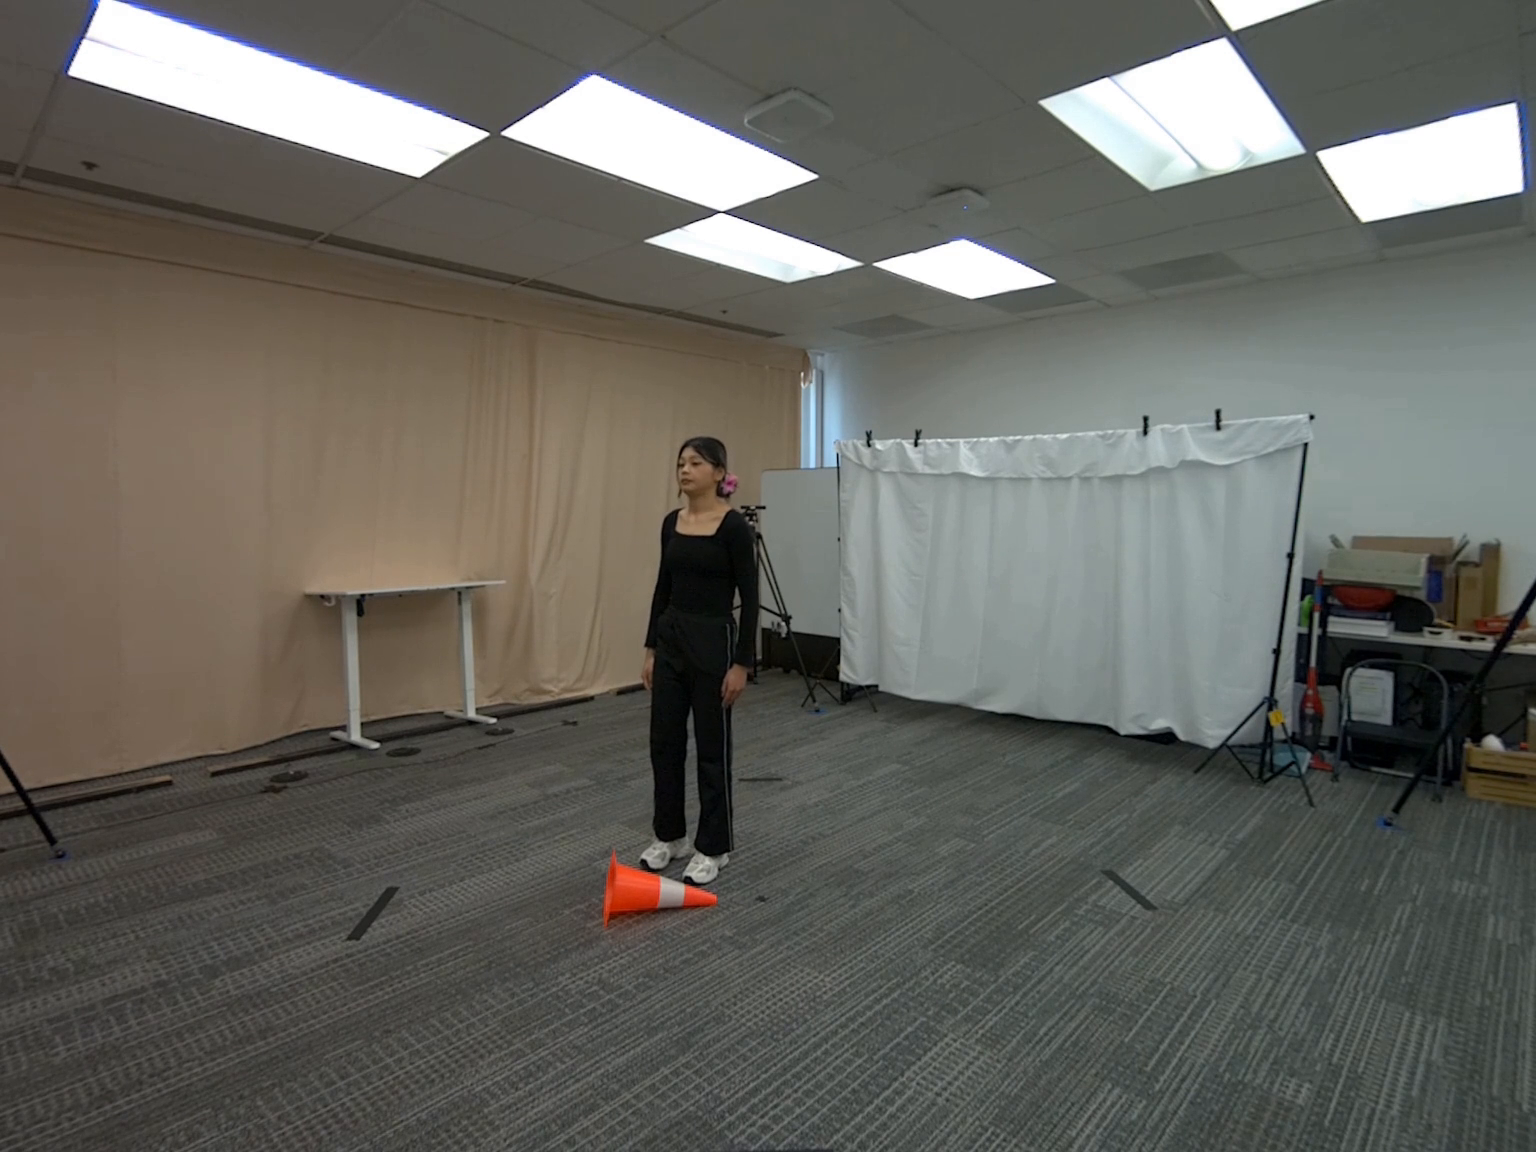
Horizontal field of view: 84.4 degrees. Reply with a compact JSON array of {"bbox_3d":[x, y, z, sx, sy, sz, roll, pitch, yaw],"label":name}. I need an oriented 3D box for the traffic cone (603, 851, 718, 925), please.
[{"bbox_3d":[-0.361,1.103,2.914,0.378,0.205,0.206,13,2,-13],"label":"traffic cone"}]
